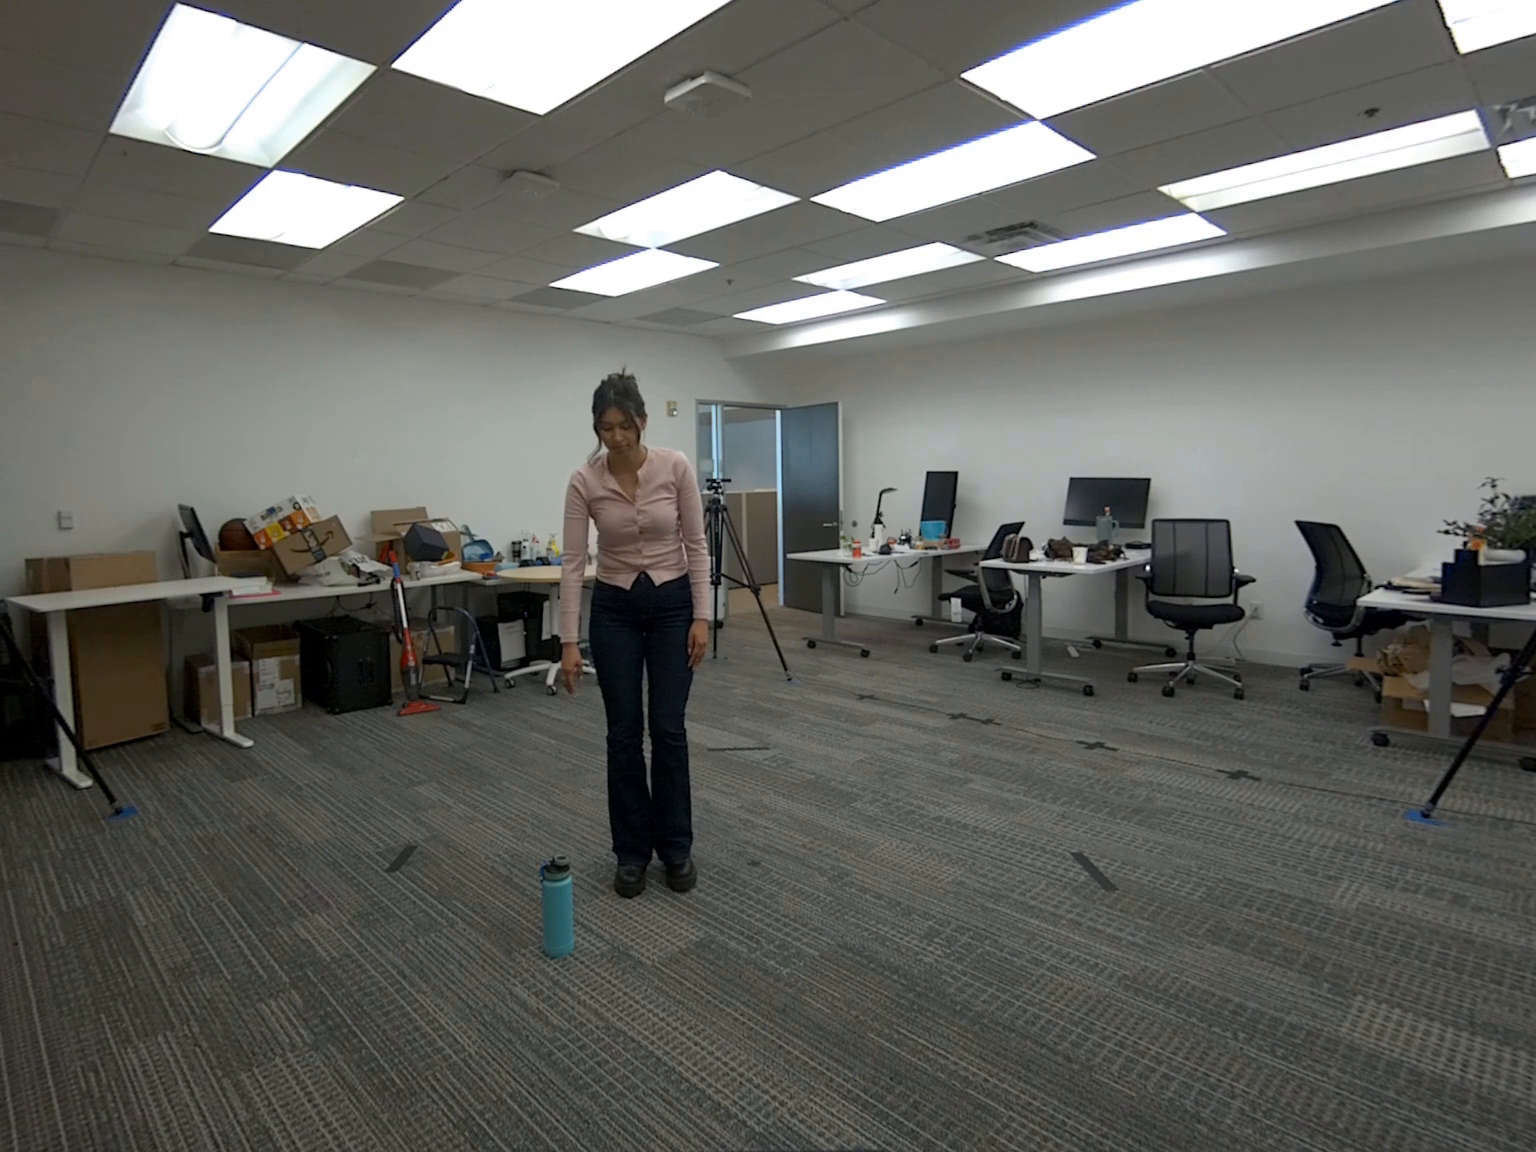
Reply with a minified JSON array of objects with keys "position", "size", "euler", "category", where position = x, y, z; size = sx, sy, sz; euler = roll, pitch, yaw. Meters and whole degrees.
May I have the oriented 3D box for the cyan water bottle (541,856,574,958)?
[{"position":[-0.630,0.984,2.546],"size":[0.092,0.281,0.093],"euler":[-2,7,-1],"category":"cyan water bottle"}]
